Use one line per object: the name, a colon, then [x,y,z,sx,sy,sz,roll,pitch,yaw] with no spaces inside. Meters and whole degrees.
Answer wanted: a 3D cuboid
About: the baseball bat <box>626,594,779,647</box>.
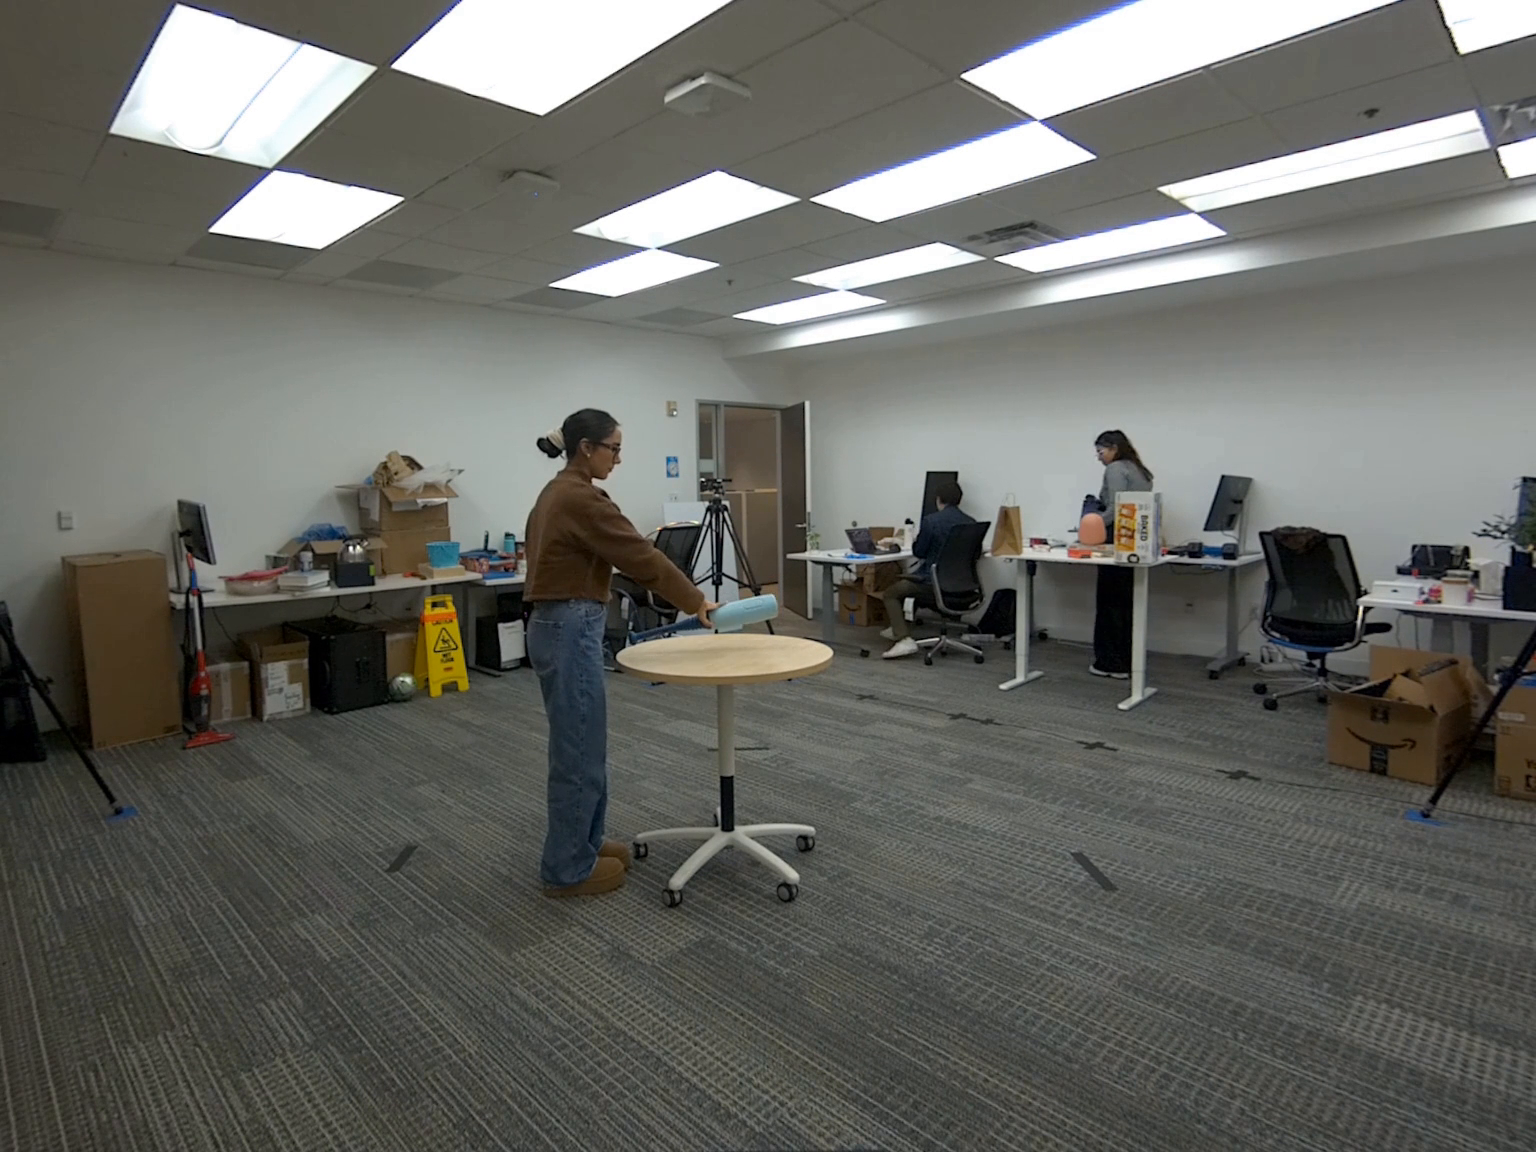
baseball bat: [-0.231,0.165,3.038,0.541,0.088,0.090,-13,6,-5]
